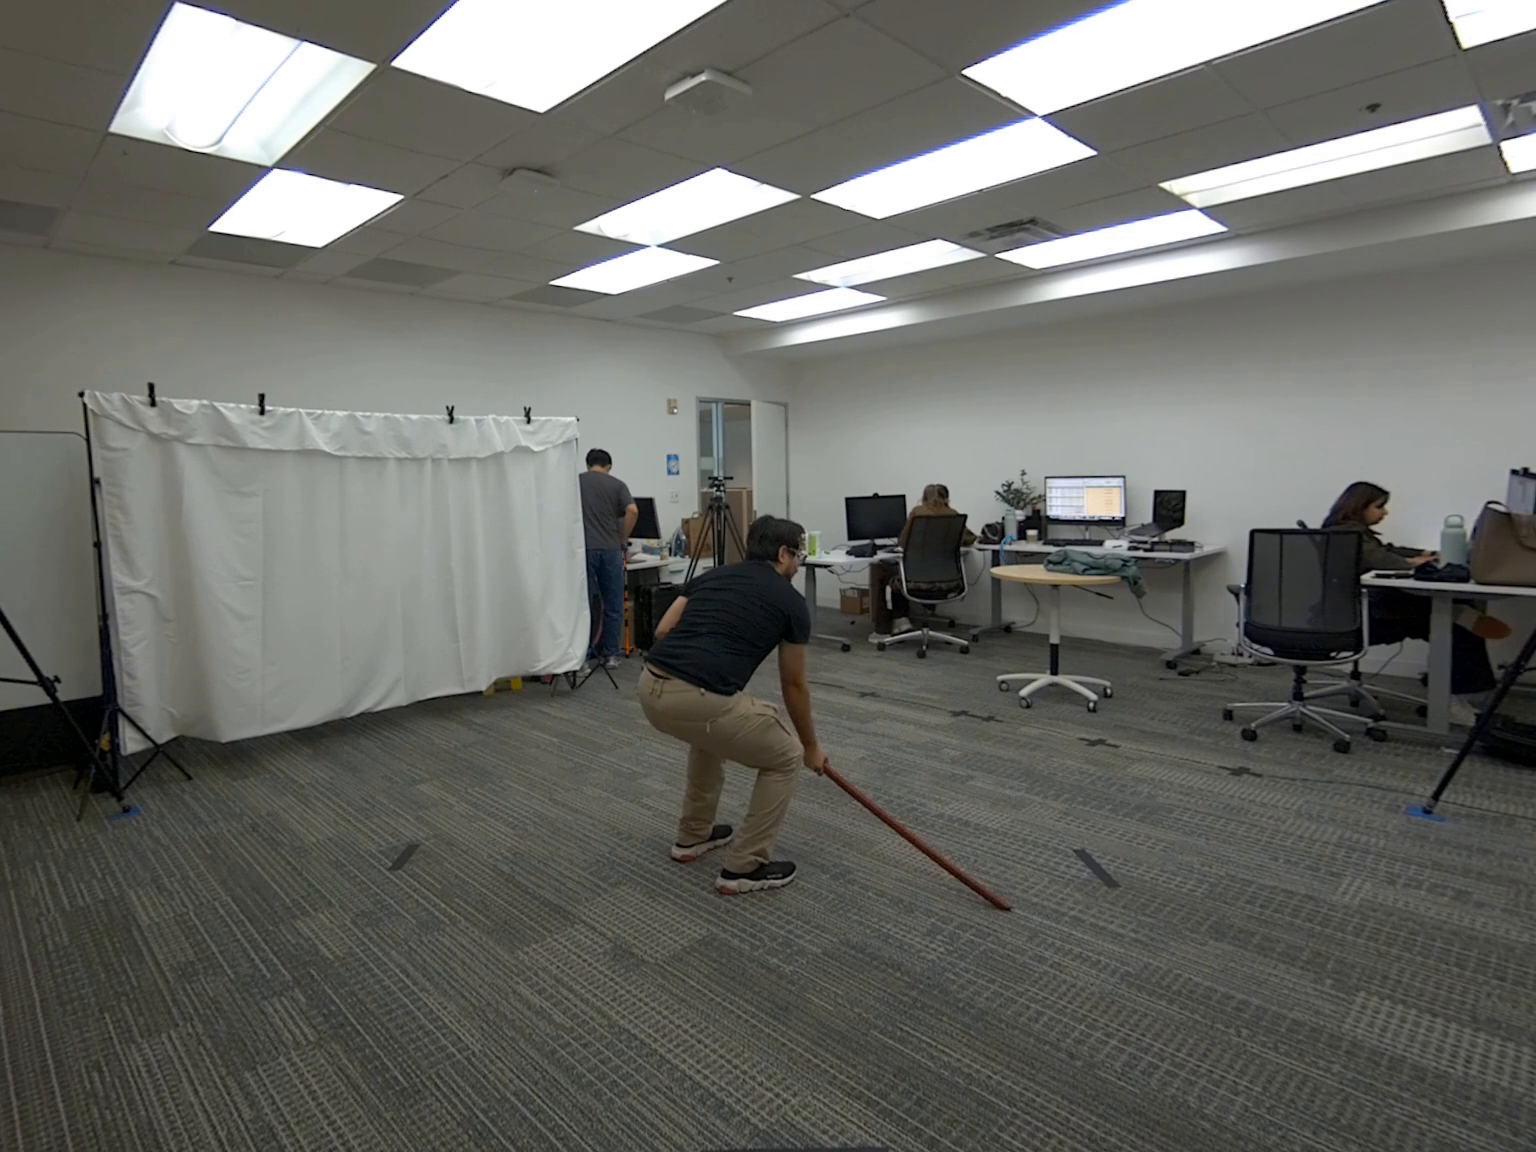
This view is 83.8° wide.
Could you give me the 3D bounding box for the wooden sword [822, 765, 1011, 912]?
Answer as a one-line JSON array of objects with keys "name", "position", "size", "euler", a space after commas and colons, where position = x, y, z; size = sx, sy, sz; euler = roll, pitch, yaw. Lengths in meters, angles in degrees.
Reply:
[{"name": "wooden sword", "position": [0.397, 0.827, 3.022], "size": [0.050, 0.024, 1.064], "euler": [-15, 36, -43]}]
